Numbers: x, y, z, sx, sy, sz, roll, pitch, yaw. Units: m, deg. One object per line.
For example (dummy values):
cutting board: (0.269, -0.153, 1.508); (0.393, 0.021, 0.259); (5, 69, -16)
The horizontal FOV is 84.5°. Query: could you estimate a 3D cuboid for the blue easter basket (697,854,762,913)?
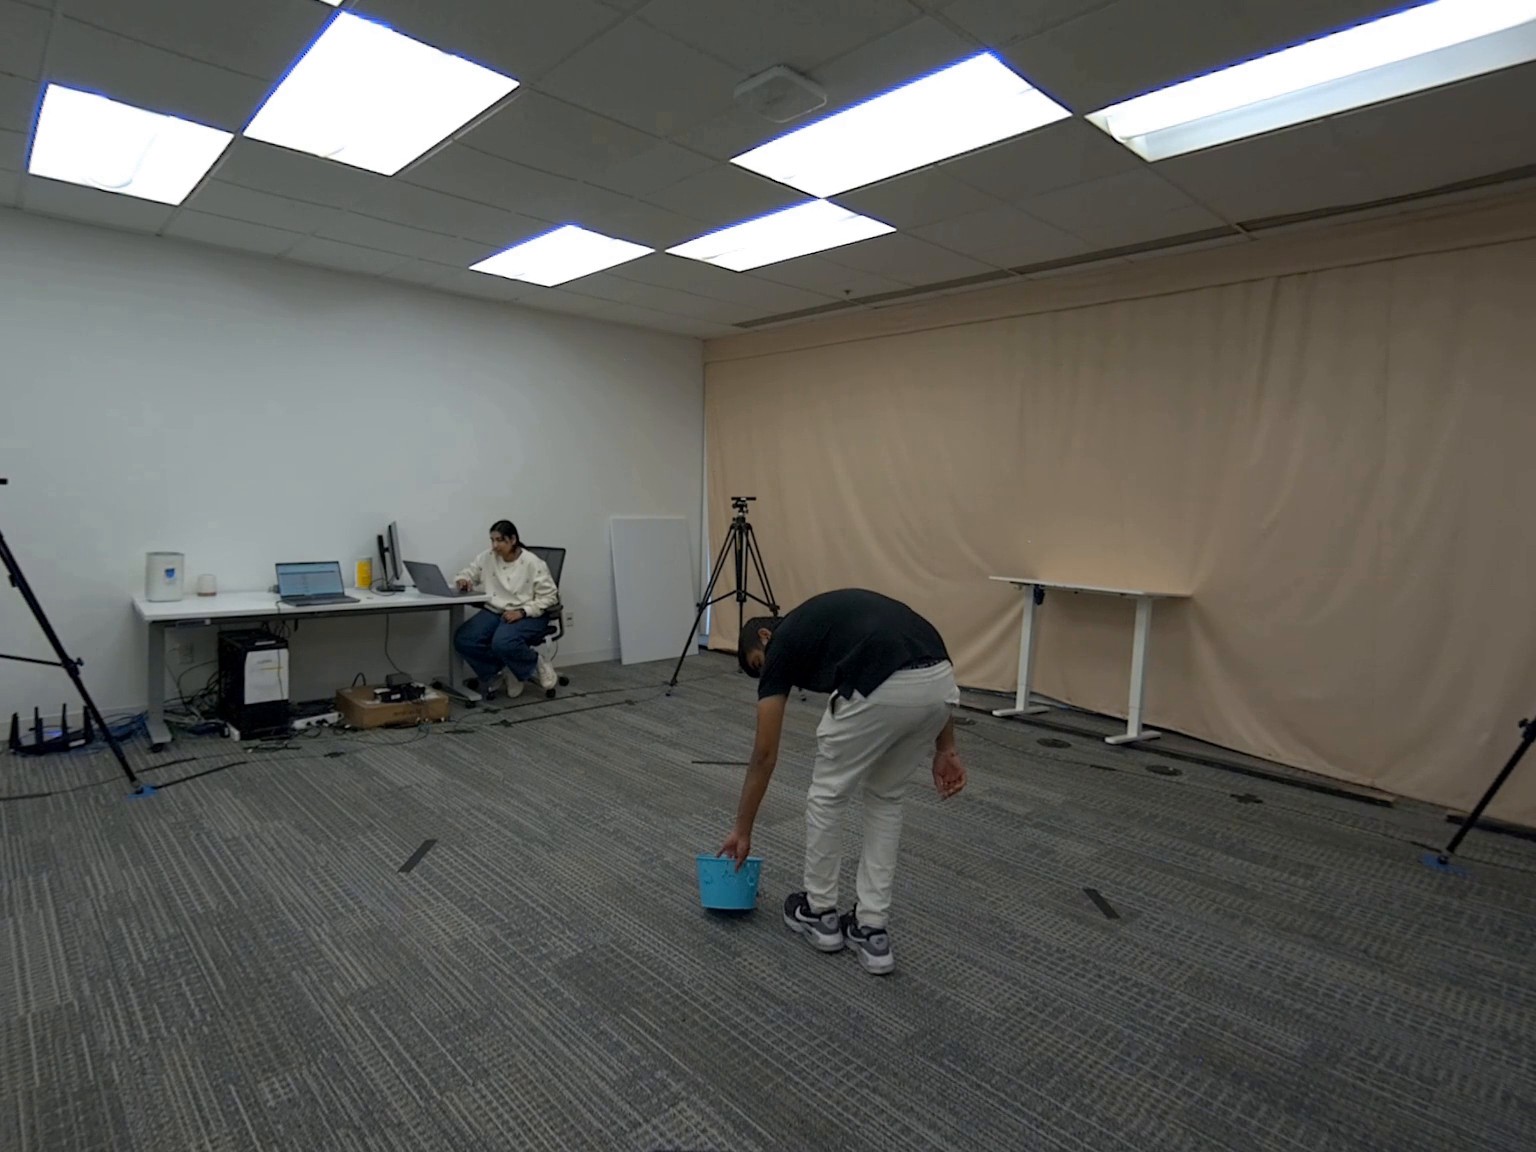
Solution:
blue easter basket: (-0.136, 1.030, 2.833); (0.243, 0.157, 0.241); (3, -14, -1)
